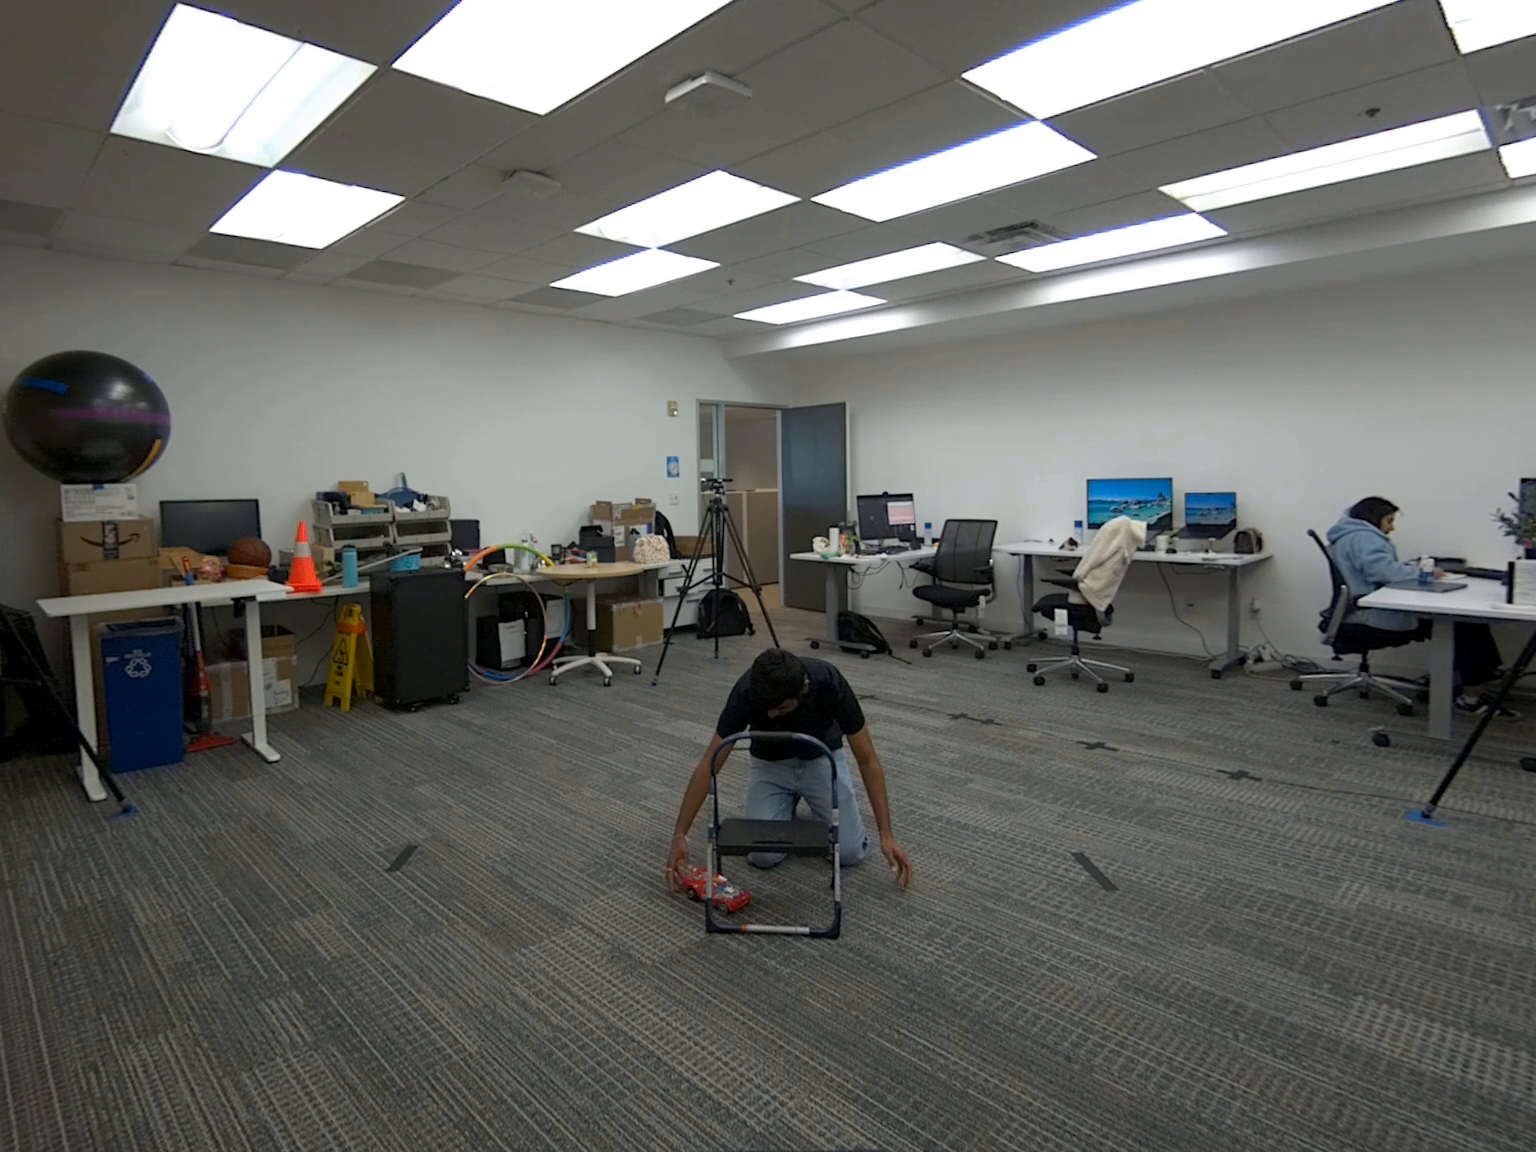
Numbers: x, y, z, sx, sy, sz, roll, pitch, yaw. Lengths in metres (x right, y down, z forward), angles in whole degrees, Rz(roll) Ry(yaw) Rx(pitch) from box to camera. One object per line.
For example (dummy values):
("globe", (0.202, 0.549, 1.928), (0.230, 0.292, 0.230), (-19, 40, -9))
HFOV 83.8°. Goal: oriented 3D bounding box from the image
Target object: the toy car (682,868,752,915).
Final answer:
("toy car", (-0.165, 1.048, 2.839), (0.264, 0.082, 0.127), (19, 20, 41))
